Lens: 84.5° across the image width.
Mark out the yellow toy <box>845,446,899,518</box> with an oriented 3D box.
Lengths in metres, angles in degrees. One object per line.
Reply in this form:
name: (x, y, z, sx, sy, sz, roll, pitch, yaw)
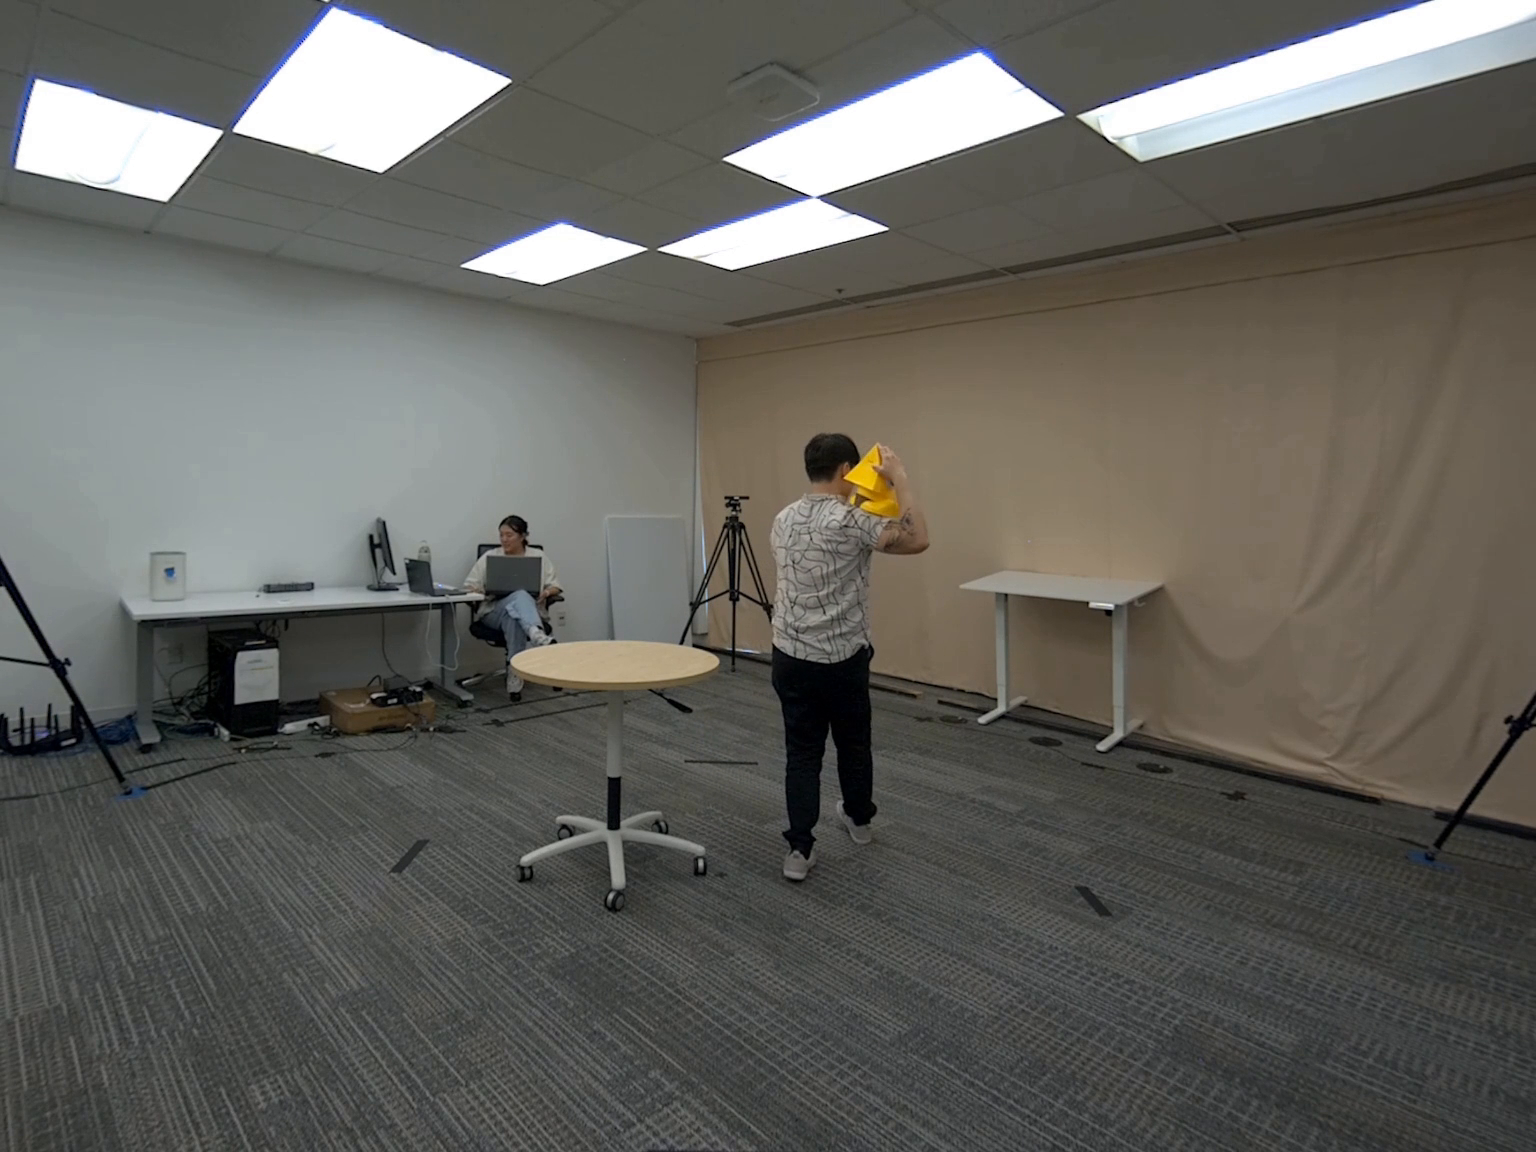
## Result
yellow toy: (0.404, -0.350, 3.047, 0.189, 0.229, 0.210, 10, 12, -24)
